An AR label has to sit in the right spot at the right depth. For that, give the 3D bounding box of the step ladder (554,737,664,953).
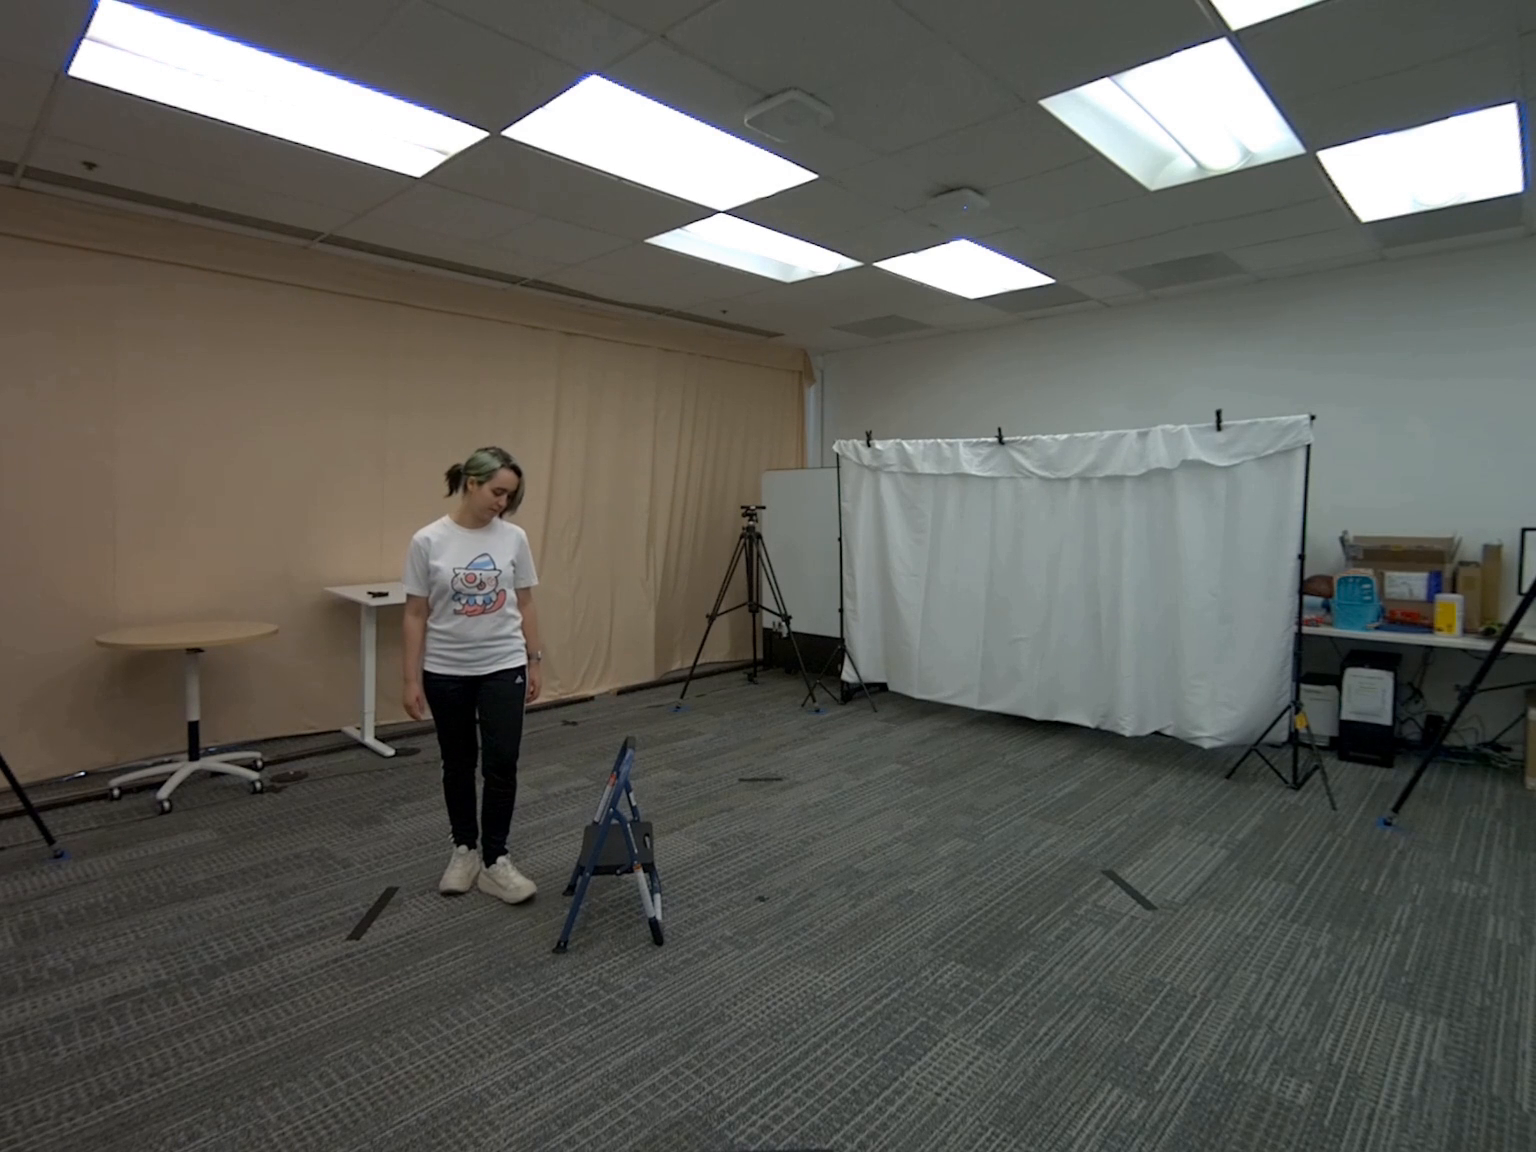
[{"bbox_3d":[-0.532,0.861,2.835,0.347,0.605,0.435,-1,3,-8],"label":"step ladder"}]
